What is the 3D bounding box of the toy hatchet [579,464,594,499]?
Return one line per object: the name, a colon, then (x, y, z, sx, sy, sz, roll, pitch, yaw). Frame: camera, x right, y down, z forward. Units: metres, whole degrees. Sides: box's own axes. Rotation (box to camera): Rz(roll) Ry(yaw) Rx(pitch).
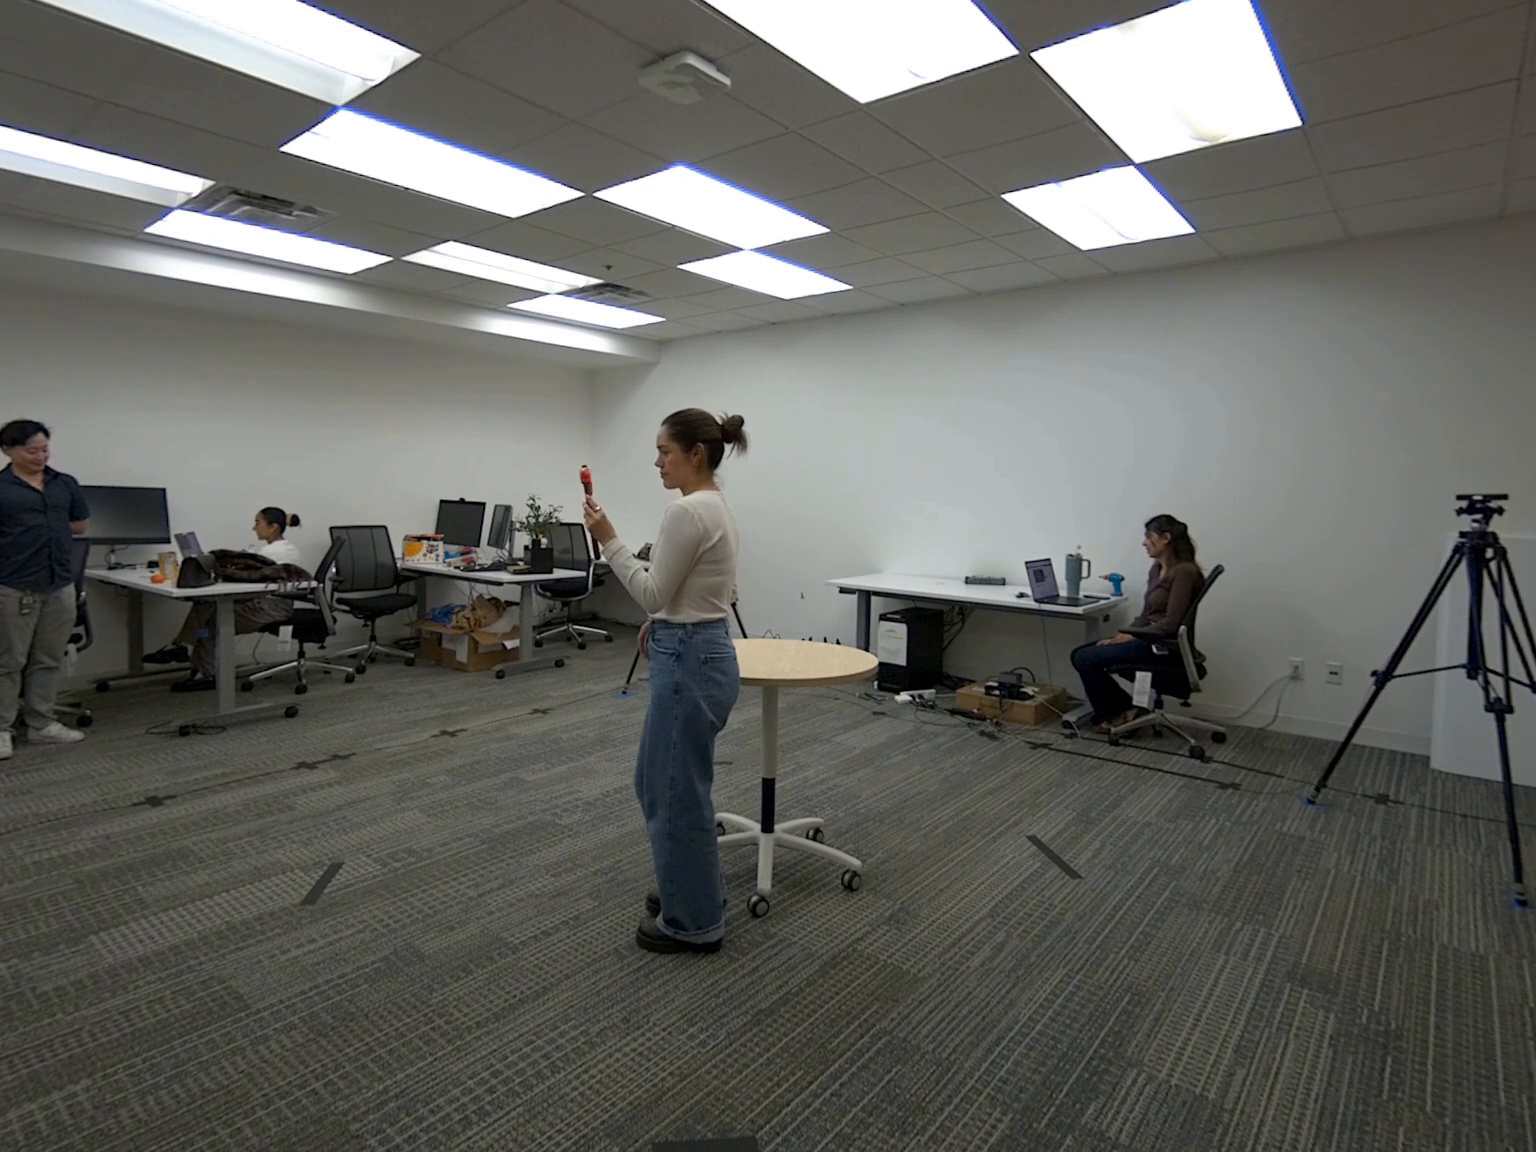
toy hatchet: (-0.526, -0.192, 2.479, 0.029, 0.266, 0.133, -8, 12, -6)
